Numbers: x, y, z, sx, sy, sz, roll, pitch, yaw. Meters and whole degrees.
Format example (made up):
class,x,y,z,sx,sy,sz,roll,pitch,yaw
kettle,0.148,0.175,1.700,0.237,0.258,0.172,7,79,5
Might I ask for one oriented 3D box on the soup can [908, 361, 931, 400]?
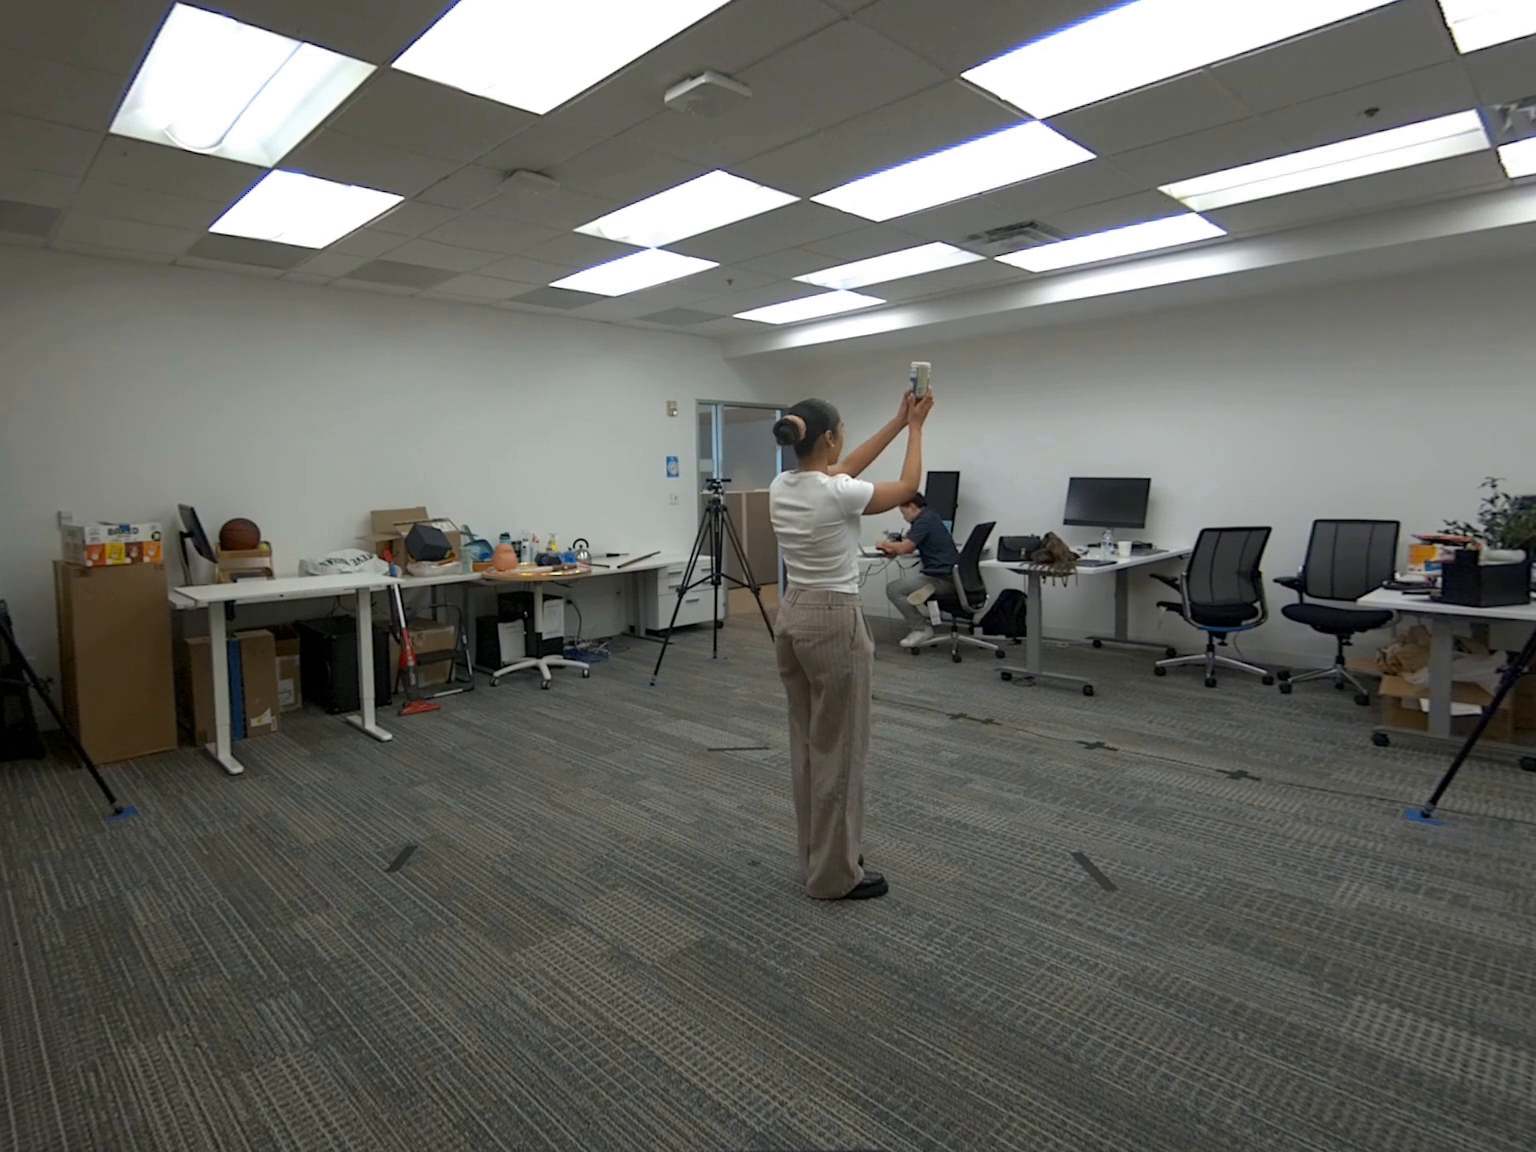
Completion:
class,x,y,z,sx,sy,sz,roll,pitch,yaw
soup can,0.536,-0.685,2.980,0.067,0.120,0.068,4,11,-3
